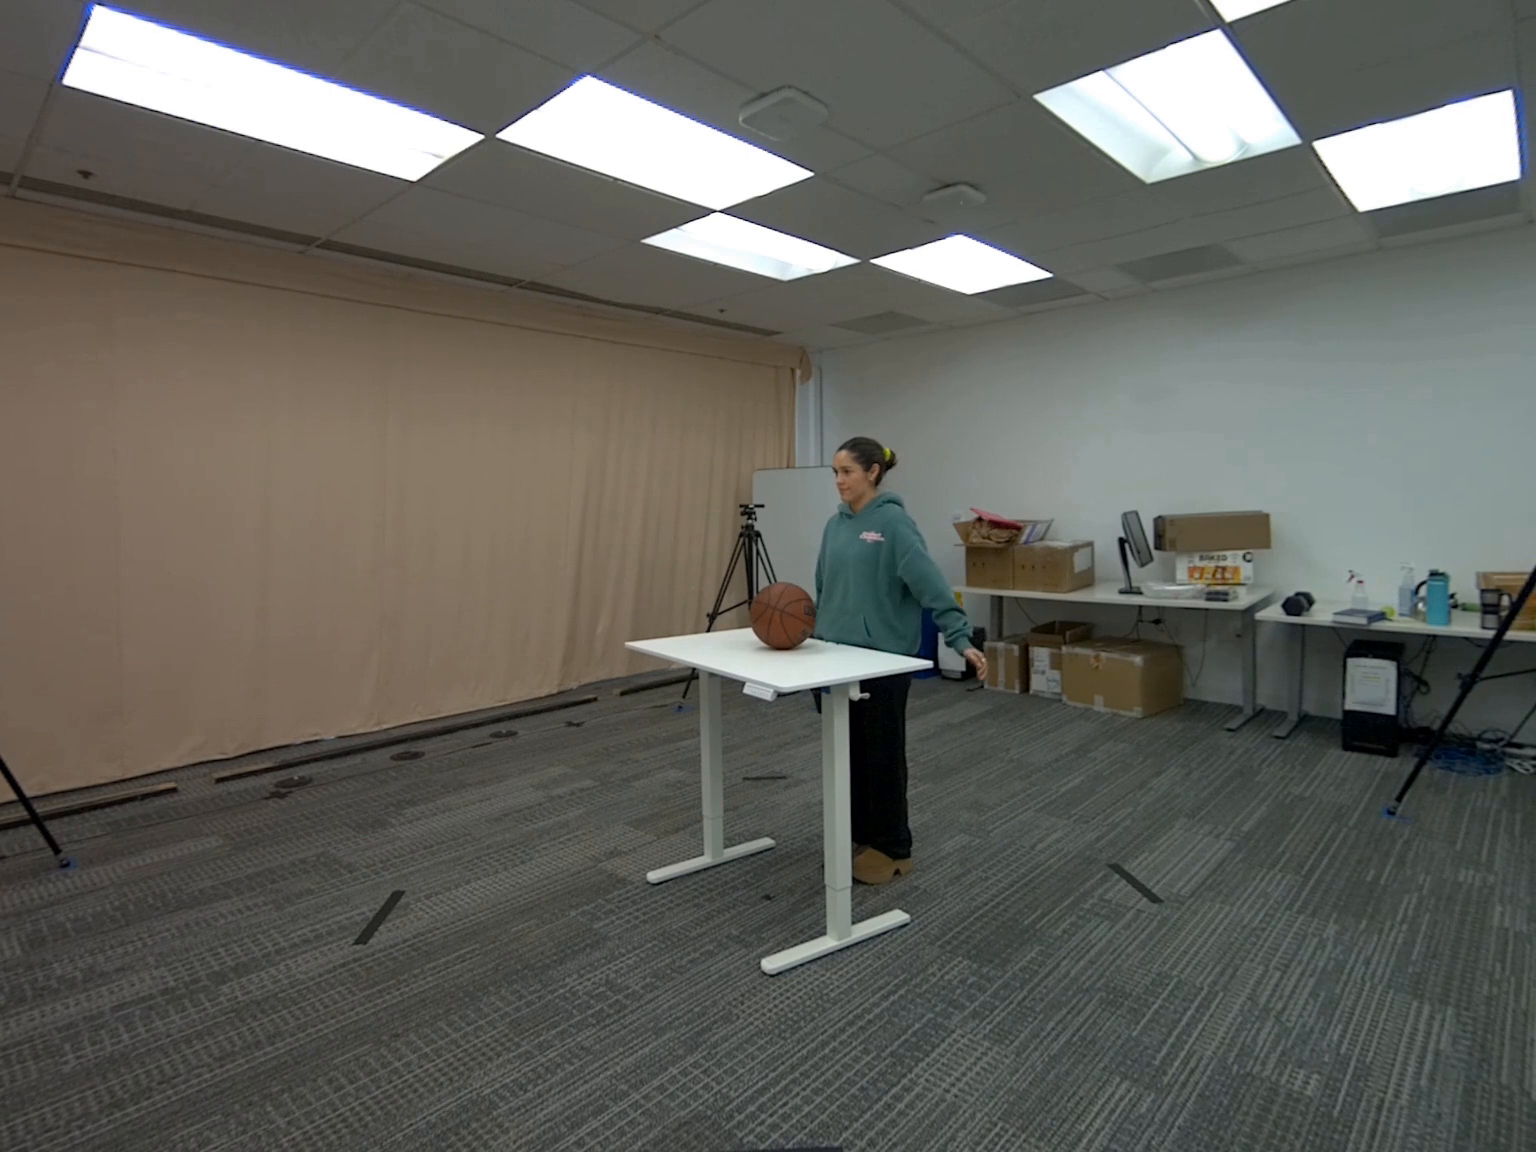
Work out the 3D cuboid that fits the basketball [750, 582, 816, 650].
[{"bbox_3d":[0.055,0.140,2.983,0.236,0.235,0.237,-1,4,-2],"label":"basketball"}]
